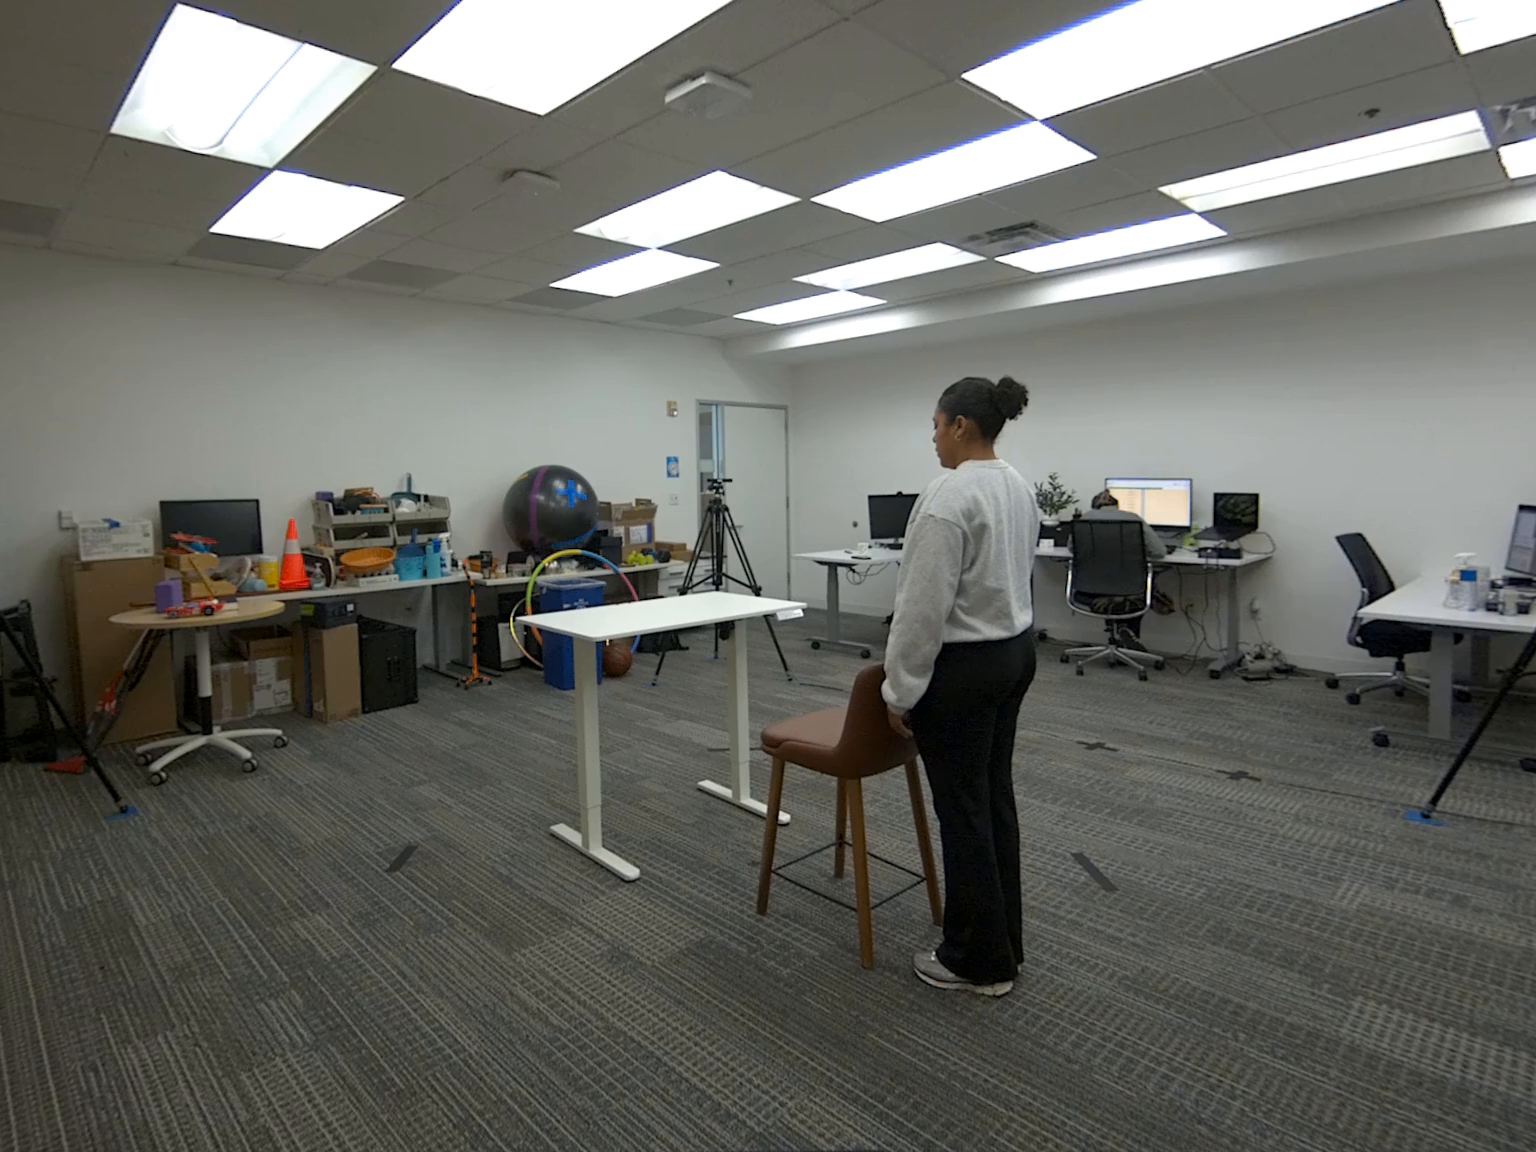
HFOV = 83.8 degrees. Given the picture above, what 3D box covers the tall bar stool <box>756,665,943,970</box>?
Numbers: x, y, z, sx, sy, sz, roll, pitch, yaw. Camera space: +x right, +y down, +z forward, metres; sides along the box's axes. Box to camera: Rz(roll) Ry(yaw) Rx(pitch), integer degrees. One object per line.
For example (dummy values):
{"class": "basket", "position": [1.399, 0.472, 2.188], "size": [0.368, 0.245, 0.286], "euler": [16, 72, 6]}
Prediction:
{"class": "tall bar stool", "position": [0.267, 0.650, 2.679], "size": [0.444, 0.885, 0.482], "euler": [-5, 8, -42]}
